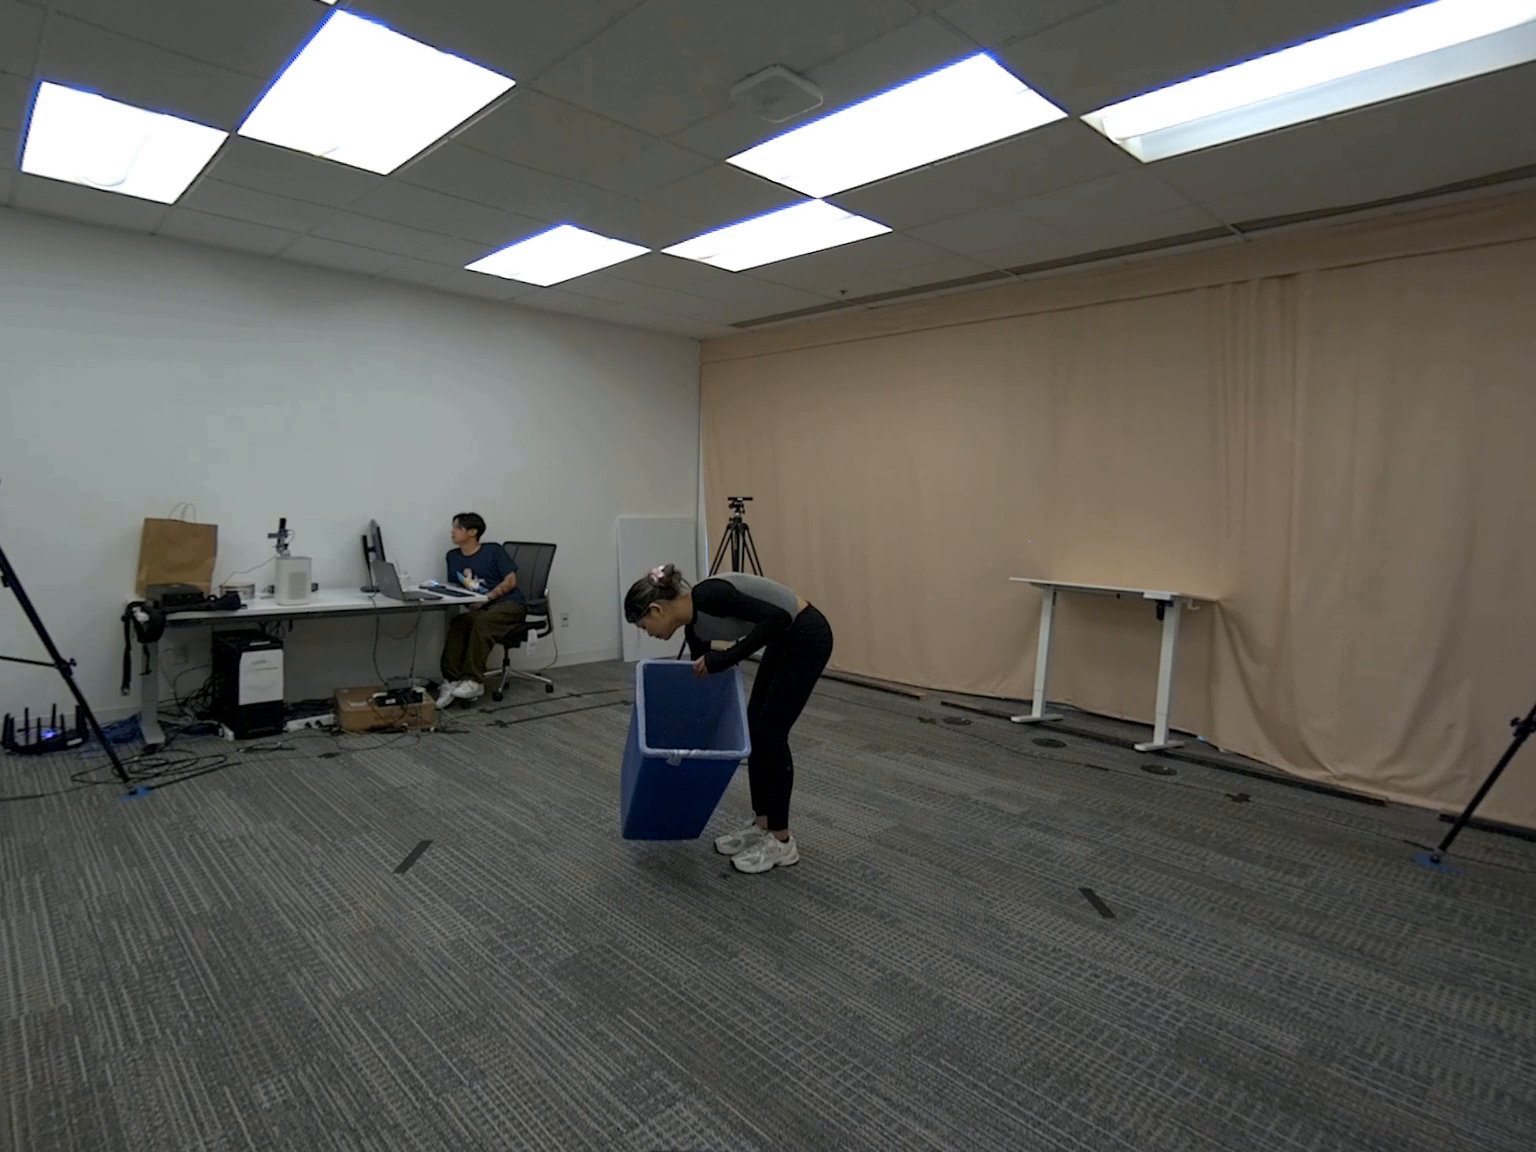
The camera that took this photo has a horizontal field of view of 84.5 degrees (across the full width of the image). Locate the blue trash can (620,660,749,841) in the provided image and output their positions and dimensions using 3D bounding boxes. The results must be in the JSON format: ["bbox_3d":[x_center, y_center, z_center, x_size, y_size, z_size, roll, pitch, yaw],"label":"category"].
[{"bbox_3d":[-0.352,0.664,3.072,0.373,0.383,0.704,5,-42,-15],"label":"blue trash can"}]
